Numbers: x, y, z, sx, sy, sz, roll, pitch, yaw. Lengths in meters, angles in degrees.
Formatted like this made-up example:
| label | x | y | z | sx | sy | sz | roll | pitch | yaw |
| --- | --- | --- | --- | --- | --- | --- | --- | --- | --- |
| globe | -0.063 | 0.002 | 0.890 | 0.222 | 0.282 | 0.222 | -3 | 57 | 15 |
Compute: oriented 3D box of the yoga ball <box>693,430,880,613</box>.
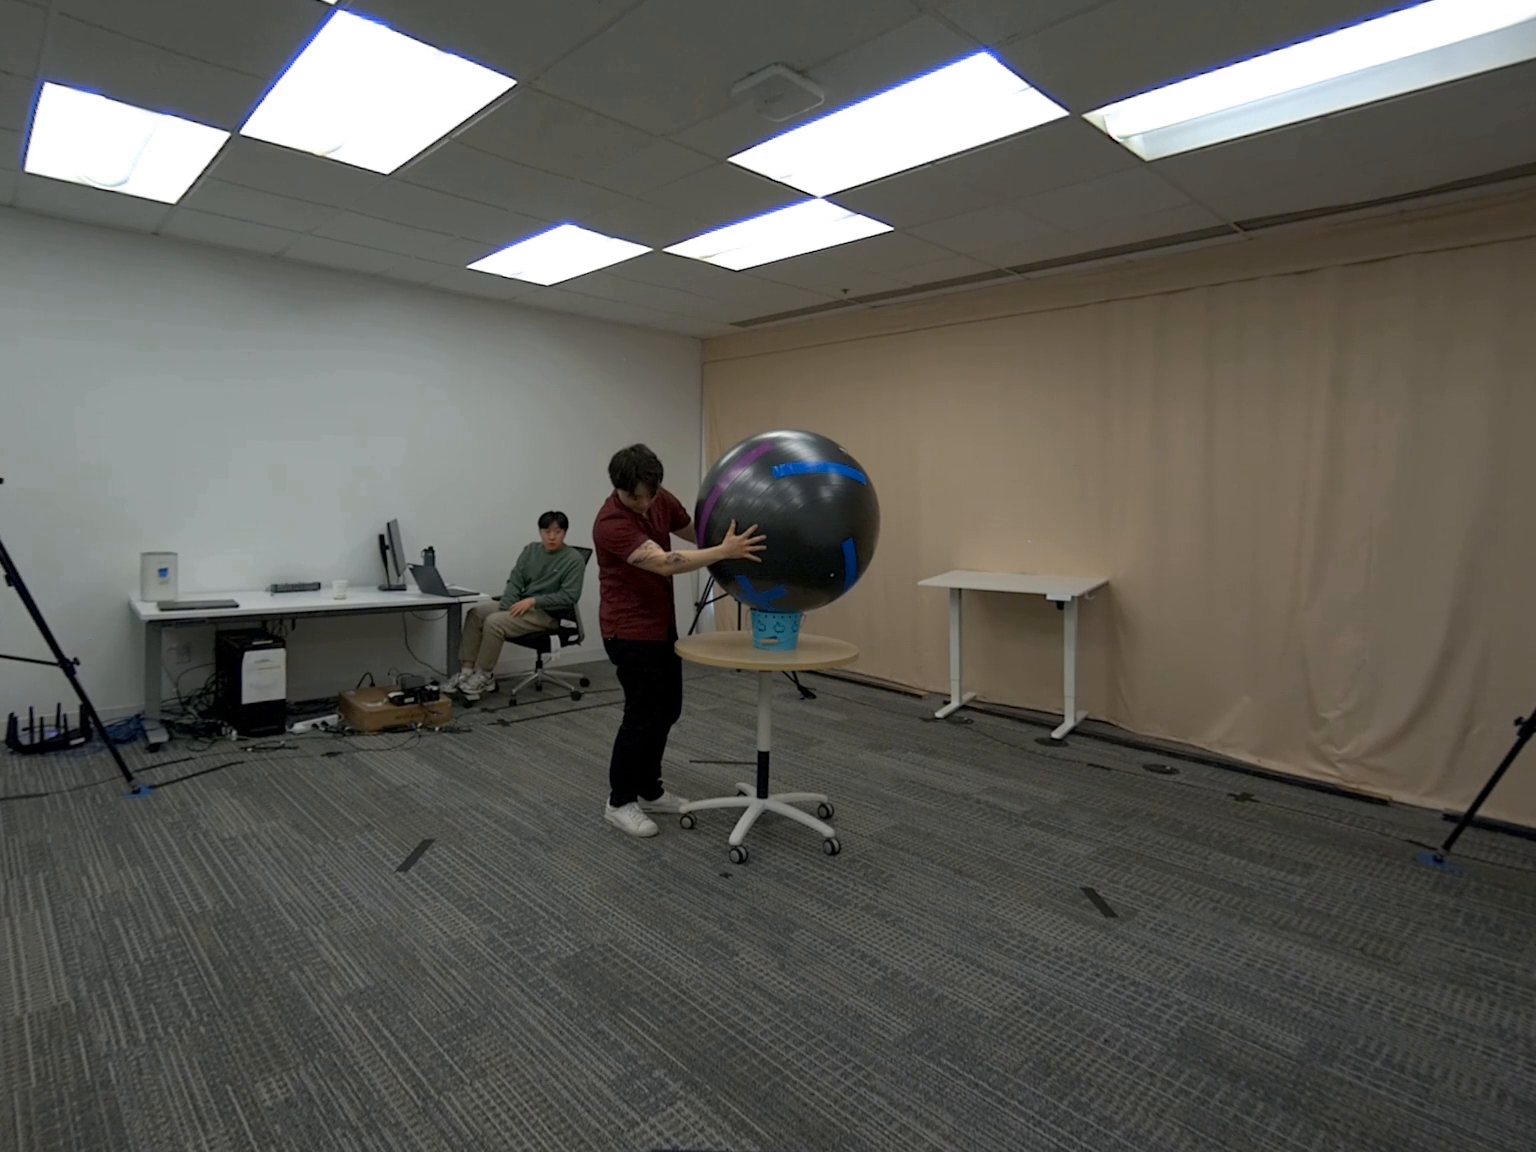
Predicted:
| label | x | y | z | sx | sy | sz | roll | pitch | yaw |
| --- | --- | --- | --- | --- | --- | --- | --- | --- | --- |
| yoga ball | 0.069 | -0.218 | 3.463 | 0.757 | 0.756 | 0.761 | 1 | 4 | -1 |
